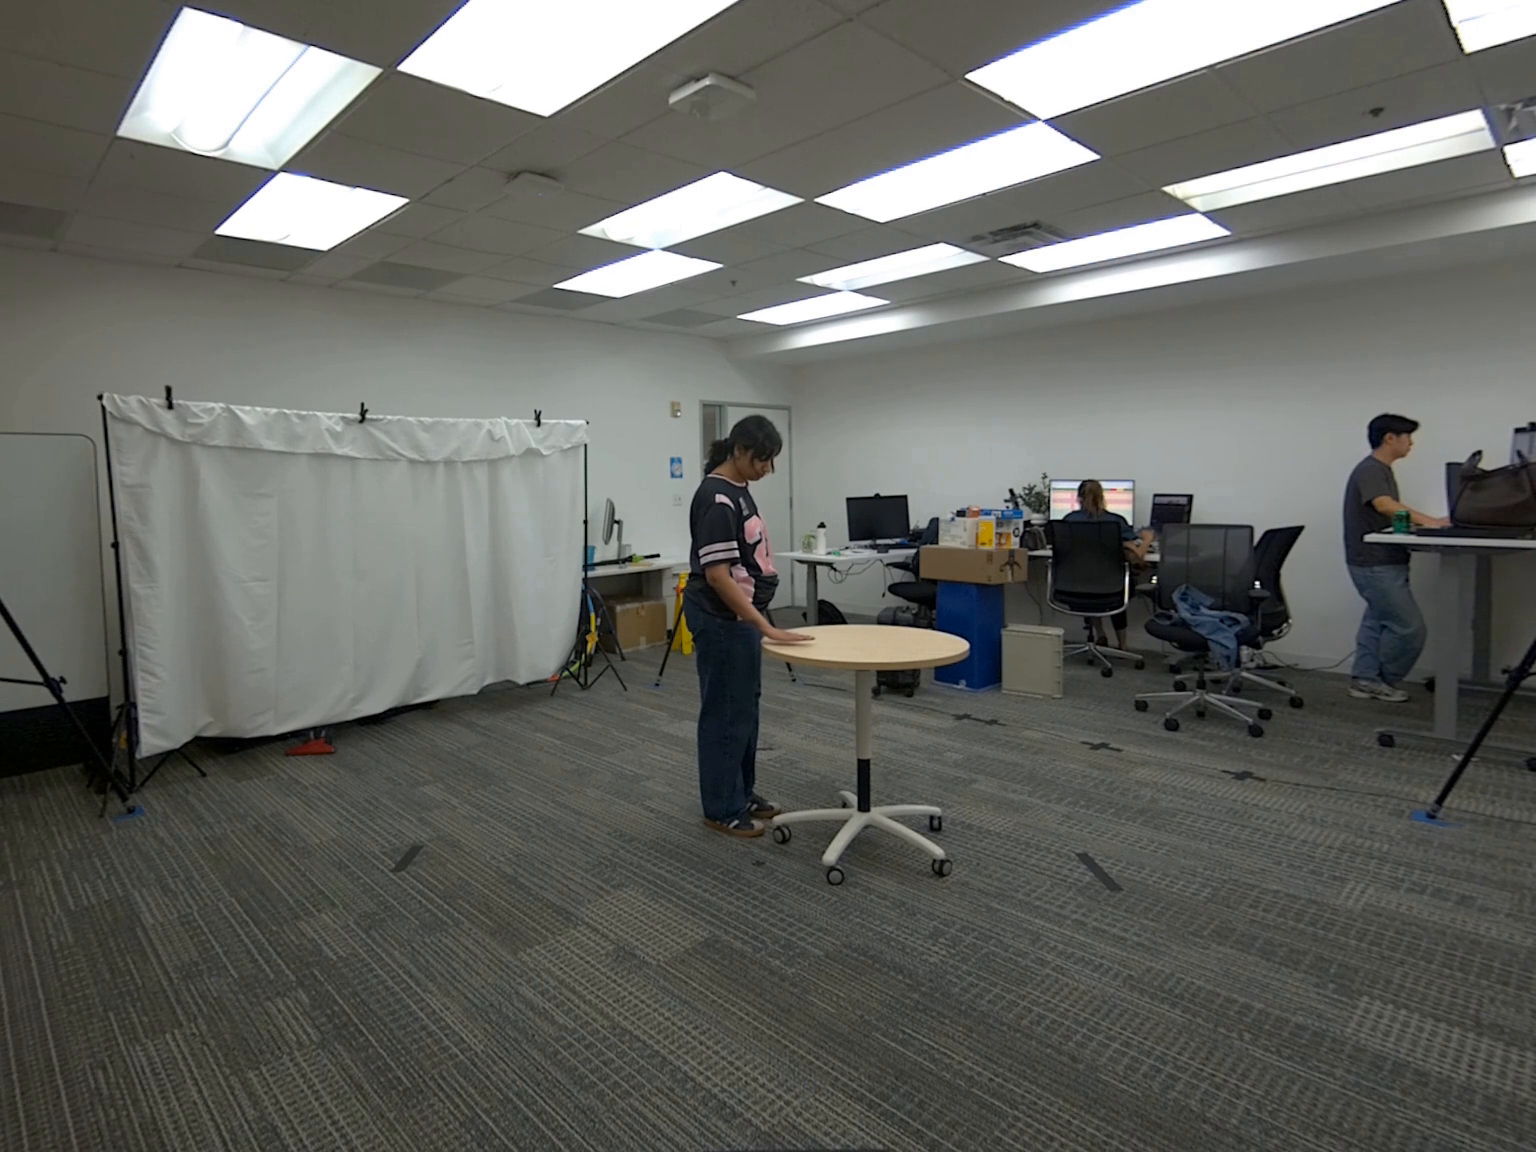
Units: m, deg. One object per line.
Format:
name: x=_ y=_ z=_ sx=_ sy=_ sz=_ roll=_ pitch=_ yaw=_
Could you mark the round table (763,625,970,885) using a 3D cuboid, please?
round table: x=0.370 y=0.634 z=3.222 sx=0.784 sy=0.783 sz=0.789 roll=-1 pitch=5 yaw=-2
